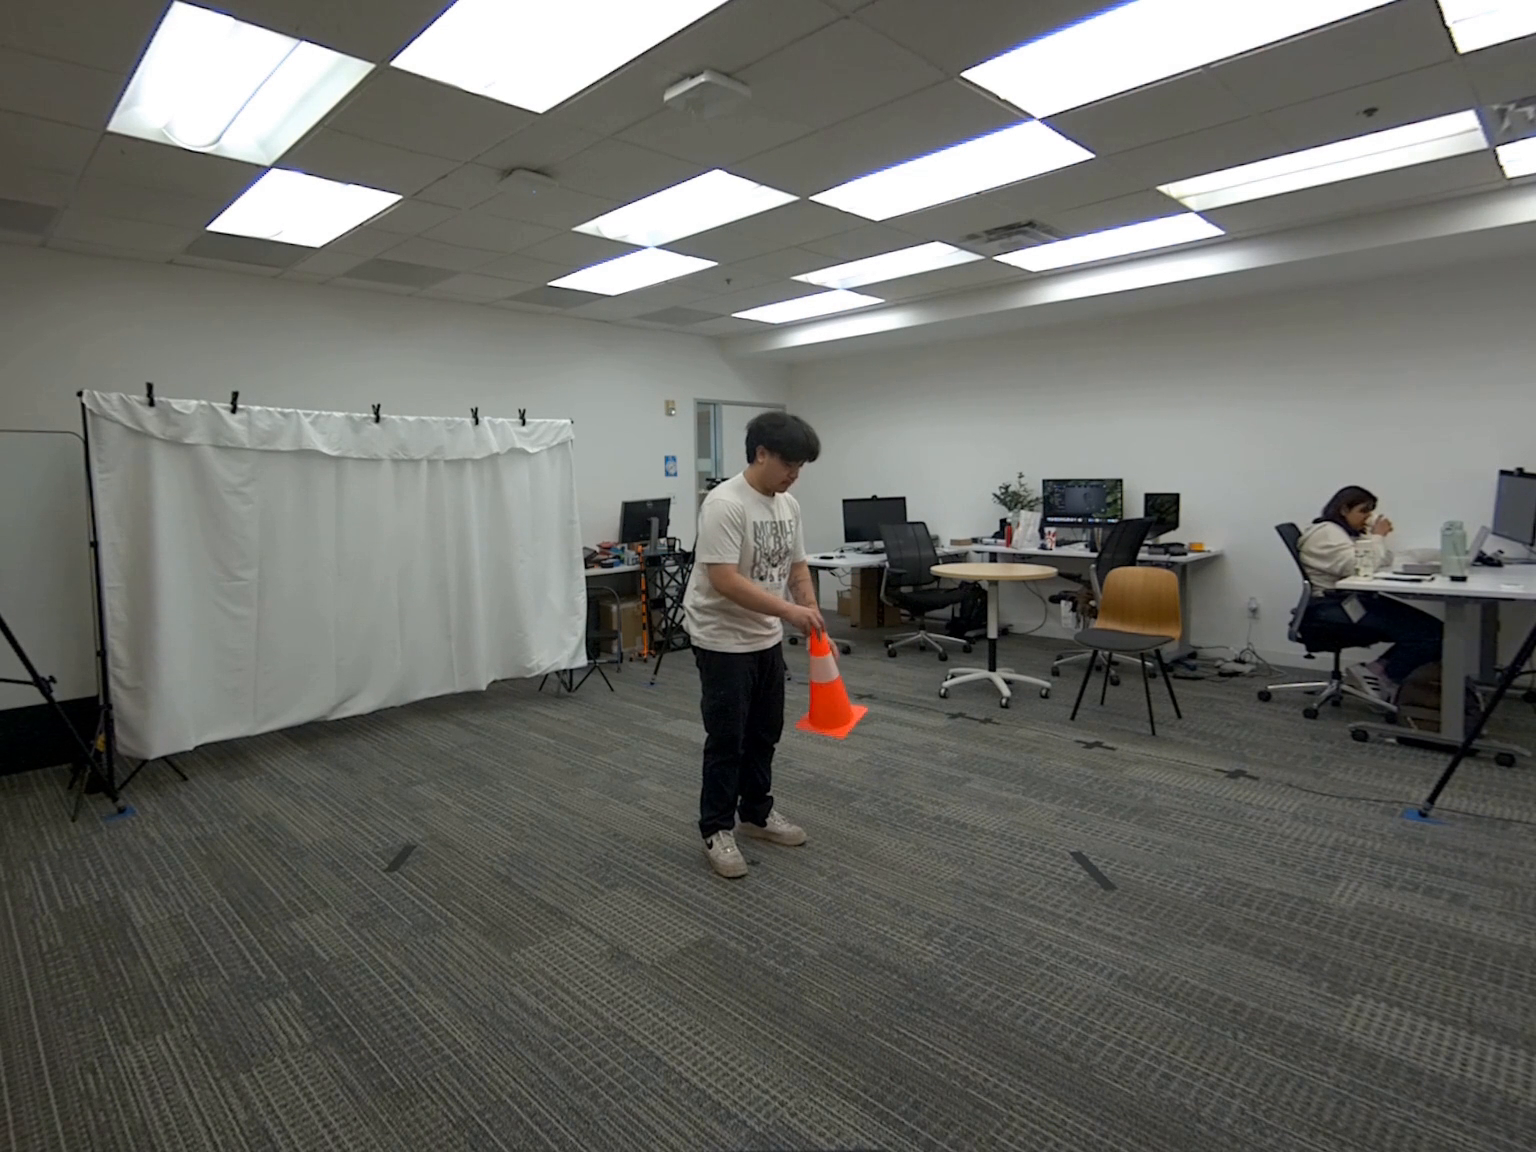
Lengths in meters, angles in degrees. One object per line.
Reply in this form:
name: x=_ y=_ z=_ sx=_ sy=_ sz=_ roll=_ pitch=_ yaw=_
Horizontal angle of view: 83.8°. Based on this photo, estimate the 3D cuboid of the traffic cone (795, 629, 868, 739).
traffic cone: x=0.192 y=0.330 z=2.931 sx=0.209 sy=0.377 sz=0.203 roll=1 pitch=22 yaw=40
